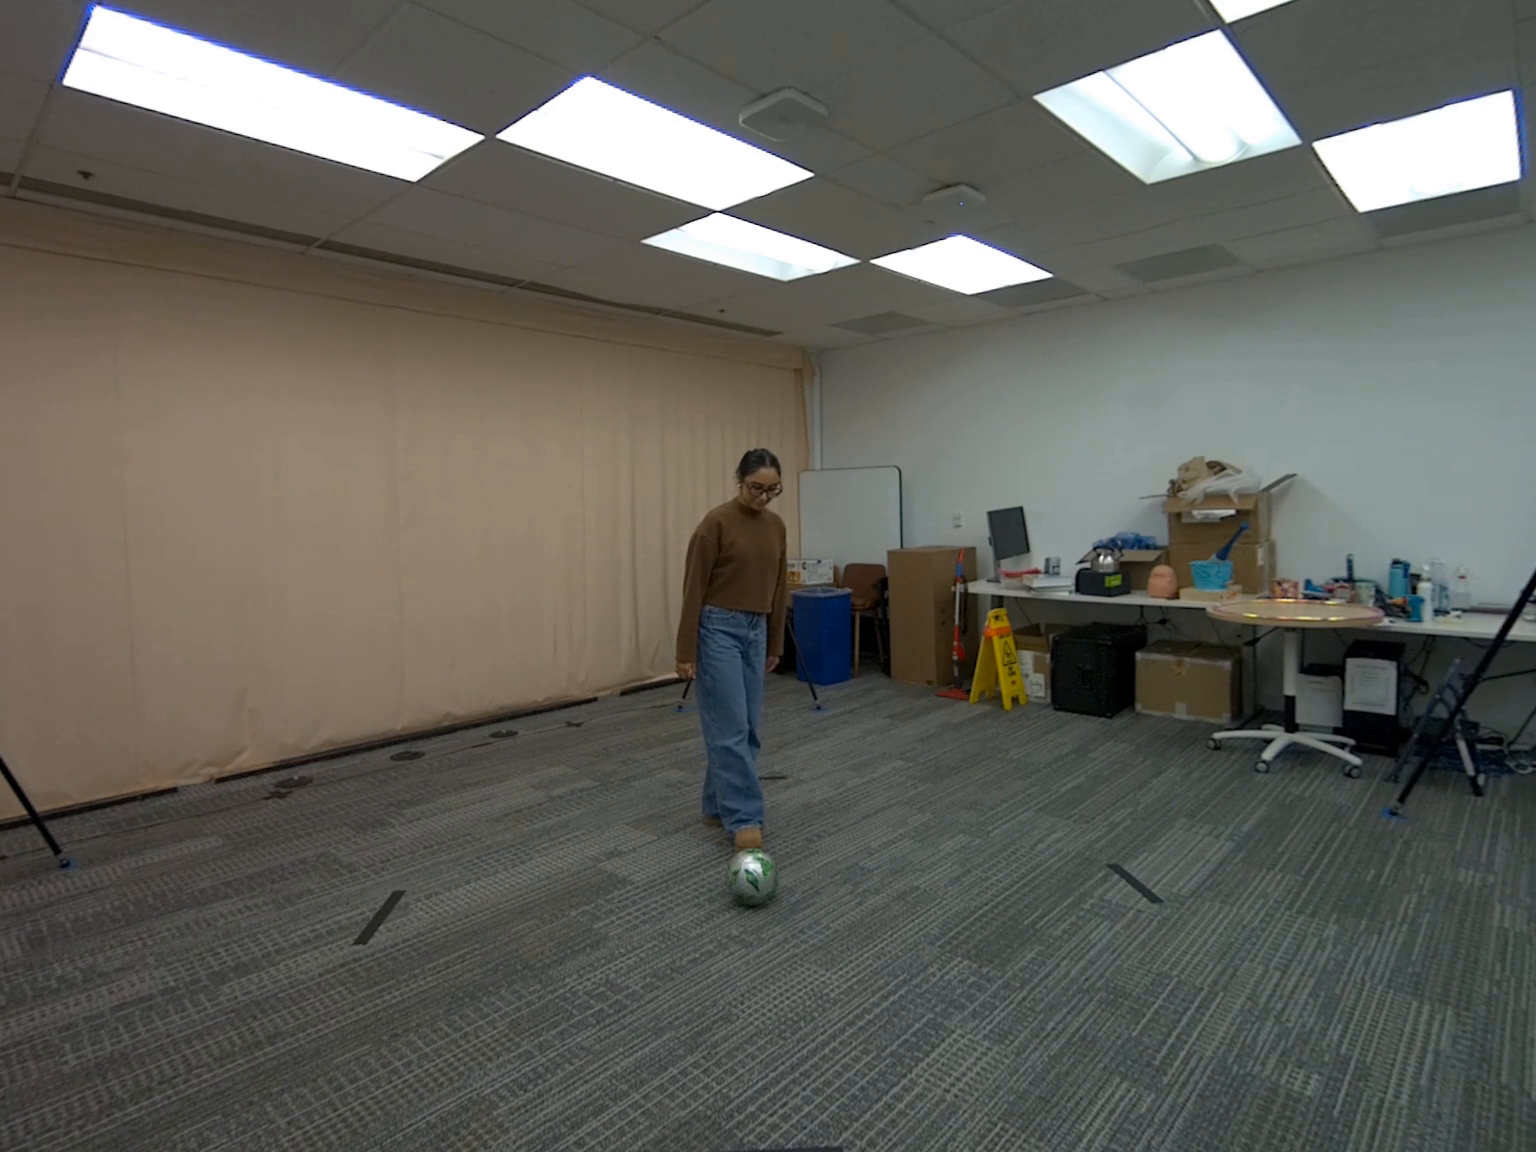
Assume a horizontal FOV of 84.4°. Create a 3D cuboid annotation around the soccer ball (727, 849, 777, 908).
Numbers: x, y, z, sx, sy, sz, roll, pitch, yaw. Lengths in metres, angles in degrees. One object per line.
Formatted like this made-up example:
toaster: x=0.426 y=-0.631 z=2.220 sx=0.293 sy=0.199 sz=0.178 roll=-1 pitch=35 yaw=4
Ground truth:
soccer ball: x=-0.053 y=1.045 z=2.941 sx=0.187 sy=0.187 sz=0.188 roll=-1 pitch=4 yaw=-2
